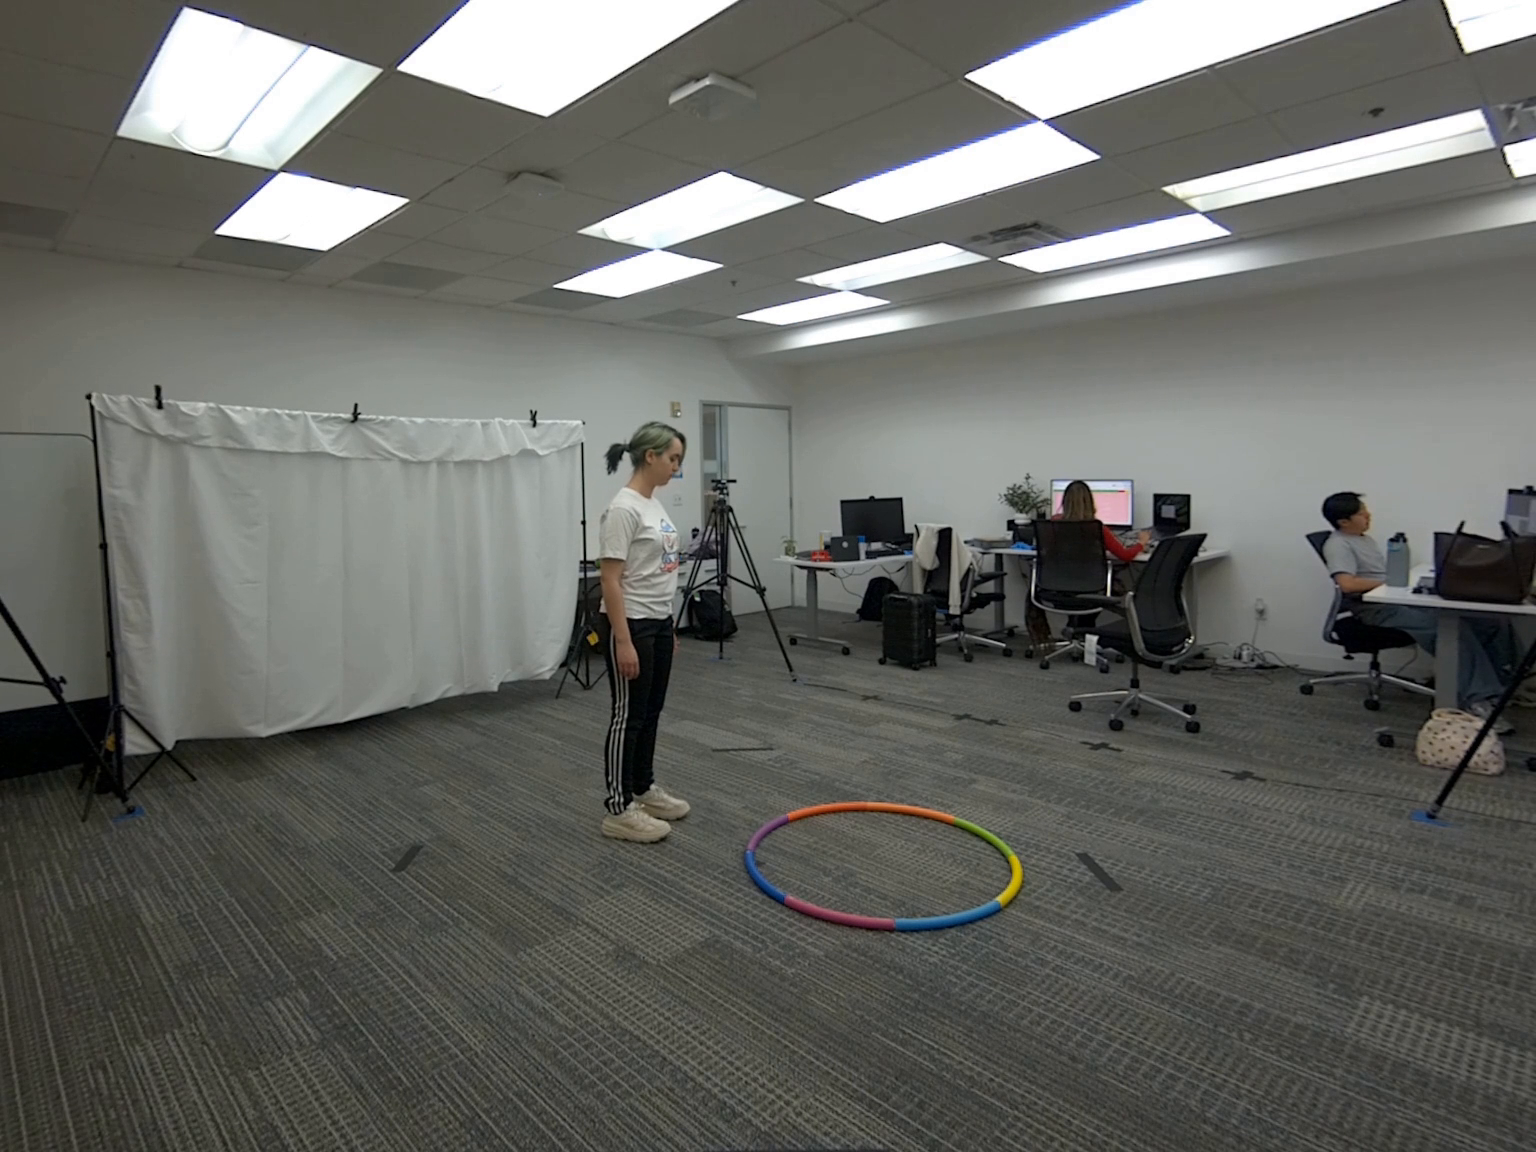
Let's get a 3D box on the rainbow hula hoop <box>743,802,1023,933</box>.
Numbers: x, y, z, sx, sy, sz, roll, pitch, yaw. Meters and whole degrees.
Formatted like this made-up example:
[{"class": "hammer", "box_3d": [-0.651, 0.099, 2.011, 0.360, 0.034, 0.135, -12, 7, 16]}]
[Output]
[{"class": "rainbow hula hoop", "box_3d": [0.399, 1.008, 3.111, 0.978, 0.035, 0.984, -2, 6, -2]}]
